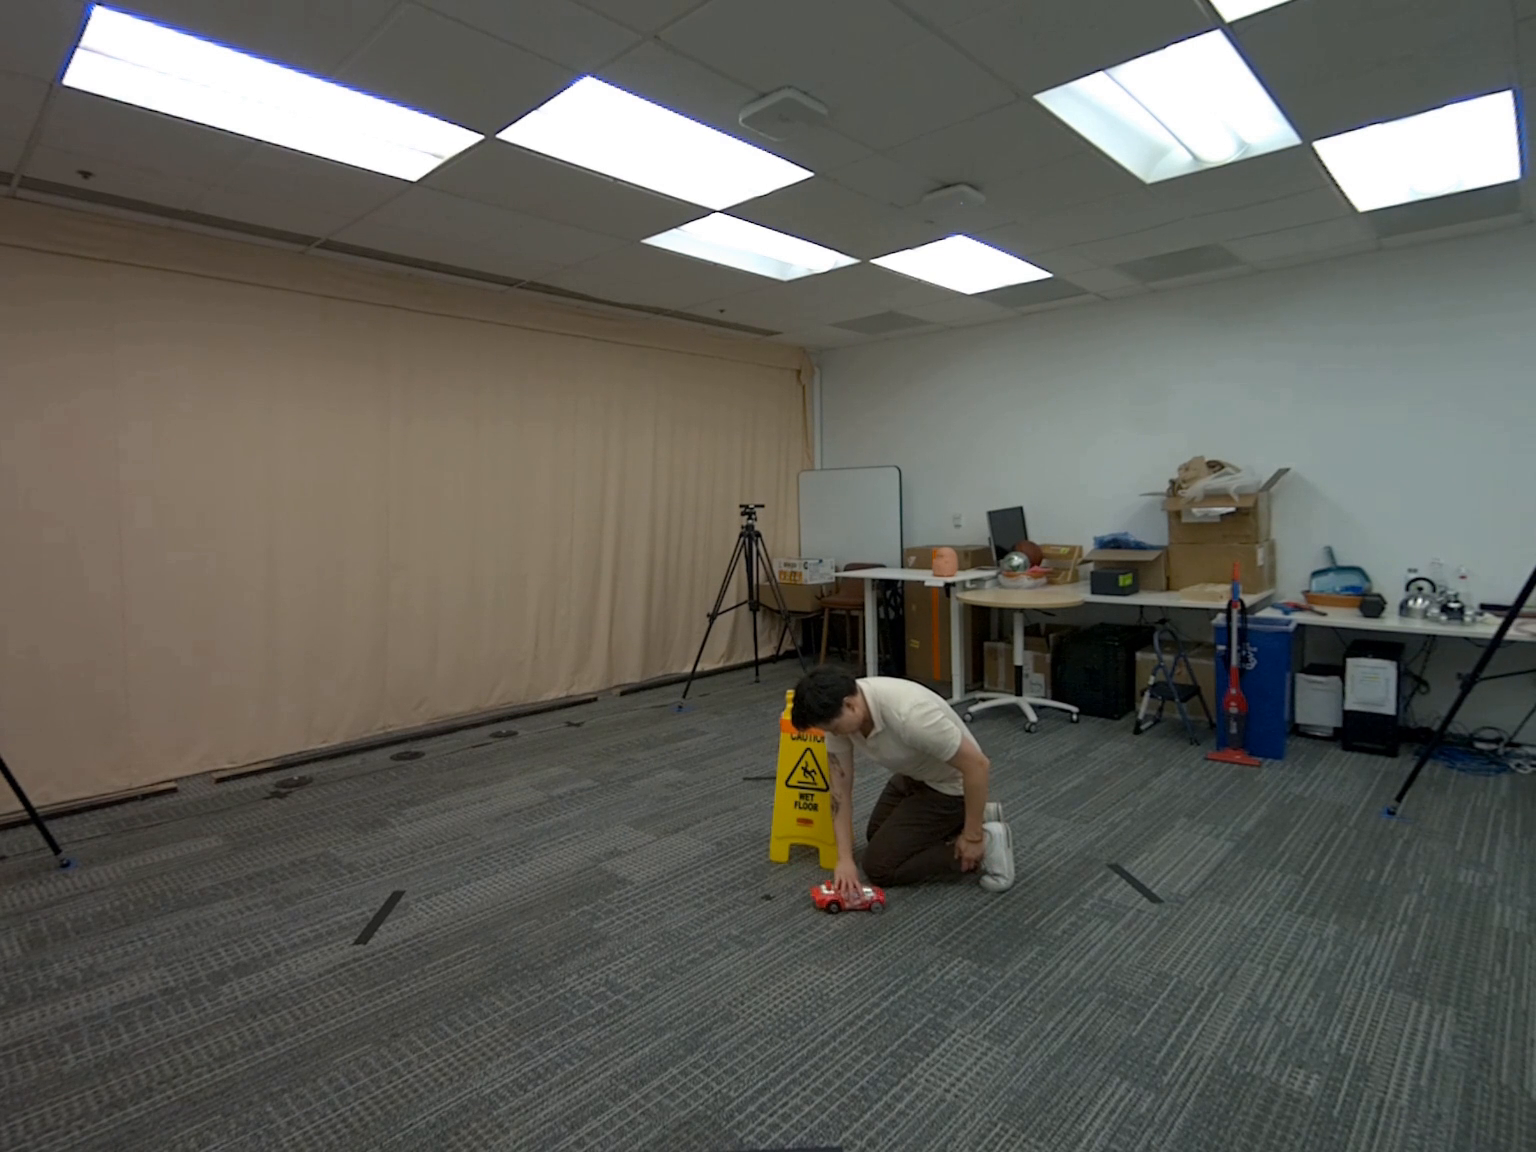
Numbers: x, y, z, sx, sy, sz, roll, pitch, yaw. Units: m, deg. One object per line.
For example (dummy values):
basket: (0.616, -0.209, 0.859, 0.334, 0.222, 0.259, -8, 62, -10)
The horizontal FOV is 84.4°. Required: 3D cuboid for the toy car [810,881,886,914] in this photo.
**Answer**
toy car: (0.262, 1.104, 2.916, 0.254, 0.083, 0.131, 11, 4, -3)
